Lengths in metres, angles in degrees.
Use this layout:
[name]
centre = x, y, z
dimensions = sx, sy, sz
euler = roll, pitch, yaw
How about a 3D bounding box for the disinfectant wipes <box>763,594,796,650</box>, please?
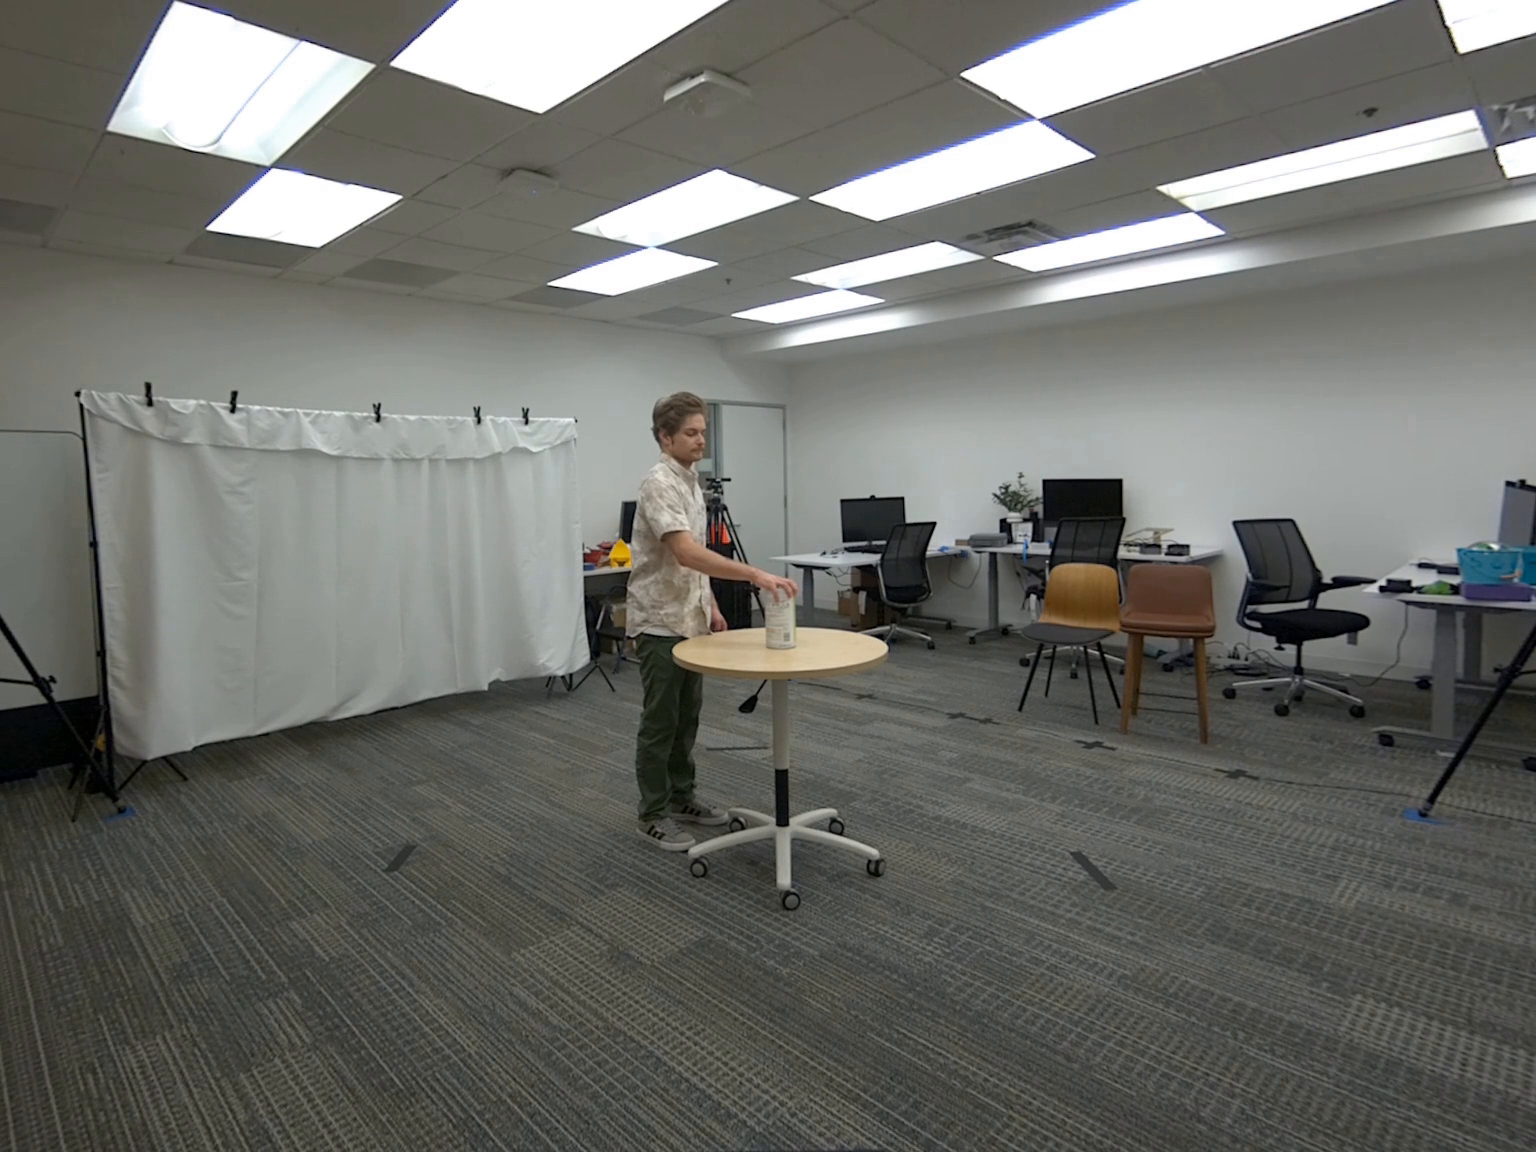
[disinfectant wipes]
centre = 0.048, 0.149, 3.051
dimensions = 0.118, 0.217, 0.118
euler = 1, 4, -2
